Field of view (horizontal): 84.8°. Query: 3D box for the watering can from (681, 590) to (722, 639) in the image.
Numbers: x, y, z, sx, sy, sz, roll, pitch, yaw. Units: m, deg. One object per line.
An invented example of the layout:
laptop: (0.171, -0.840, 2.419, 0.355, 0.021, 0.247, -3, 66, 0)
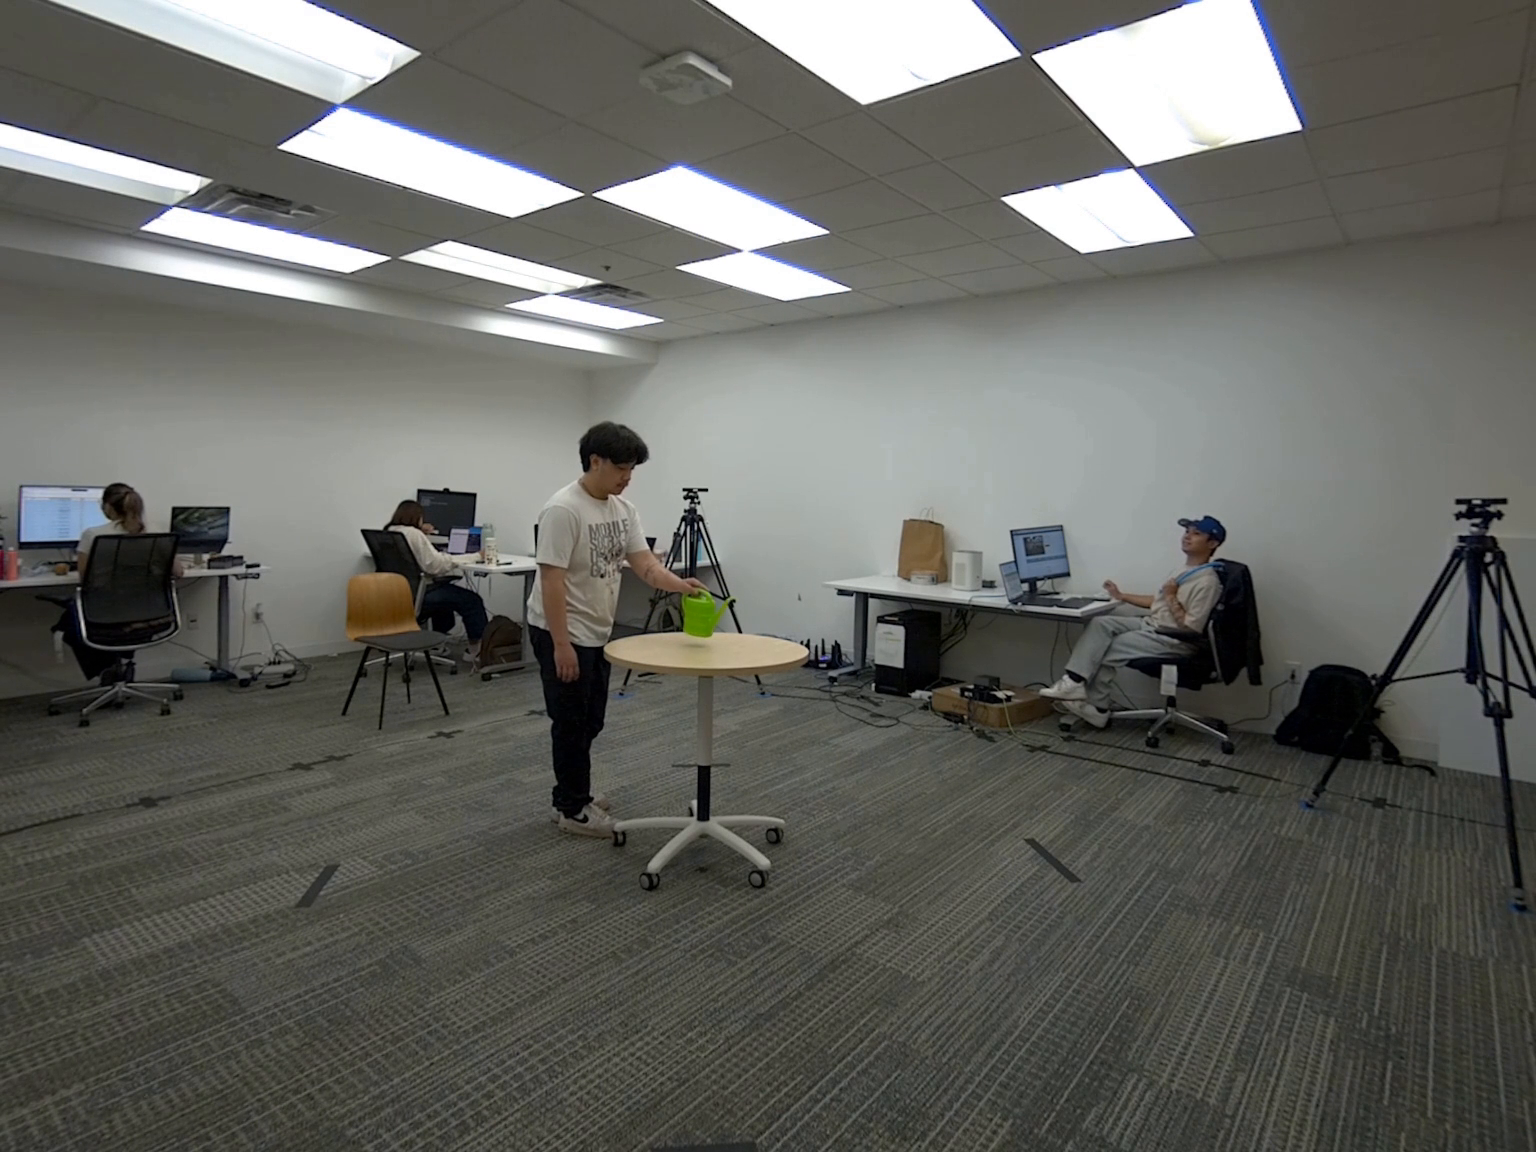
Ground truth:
watering can: (-0.248, 0.144, 3.199, 0.095, 0.176, 0.288, -2, 8, -33)
